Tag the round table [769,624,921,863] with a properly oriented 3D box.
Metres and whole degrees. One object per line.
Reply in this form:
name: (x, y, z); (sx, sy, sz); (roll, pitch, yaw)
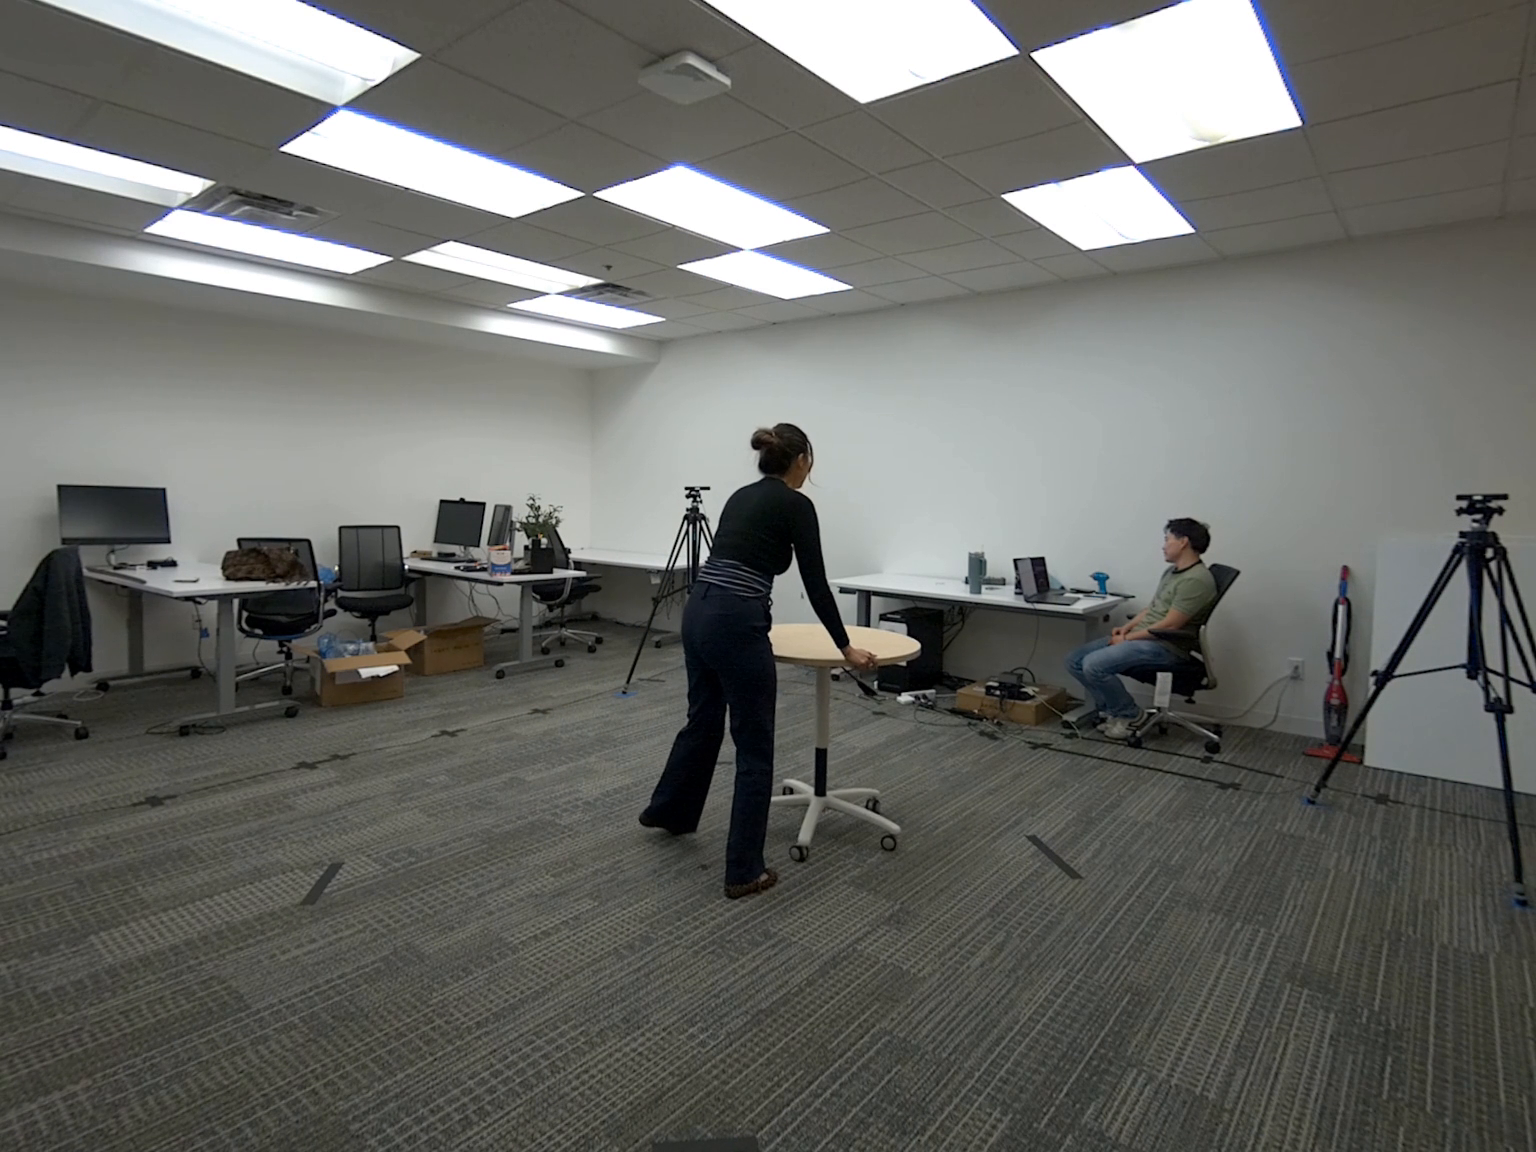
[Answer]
round table: (0.205, 0.648, 3.472); (0.763, 0.791, 0.768); (1, 5, -2)
